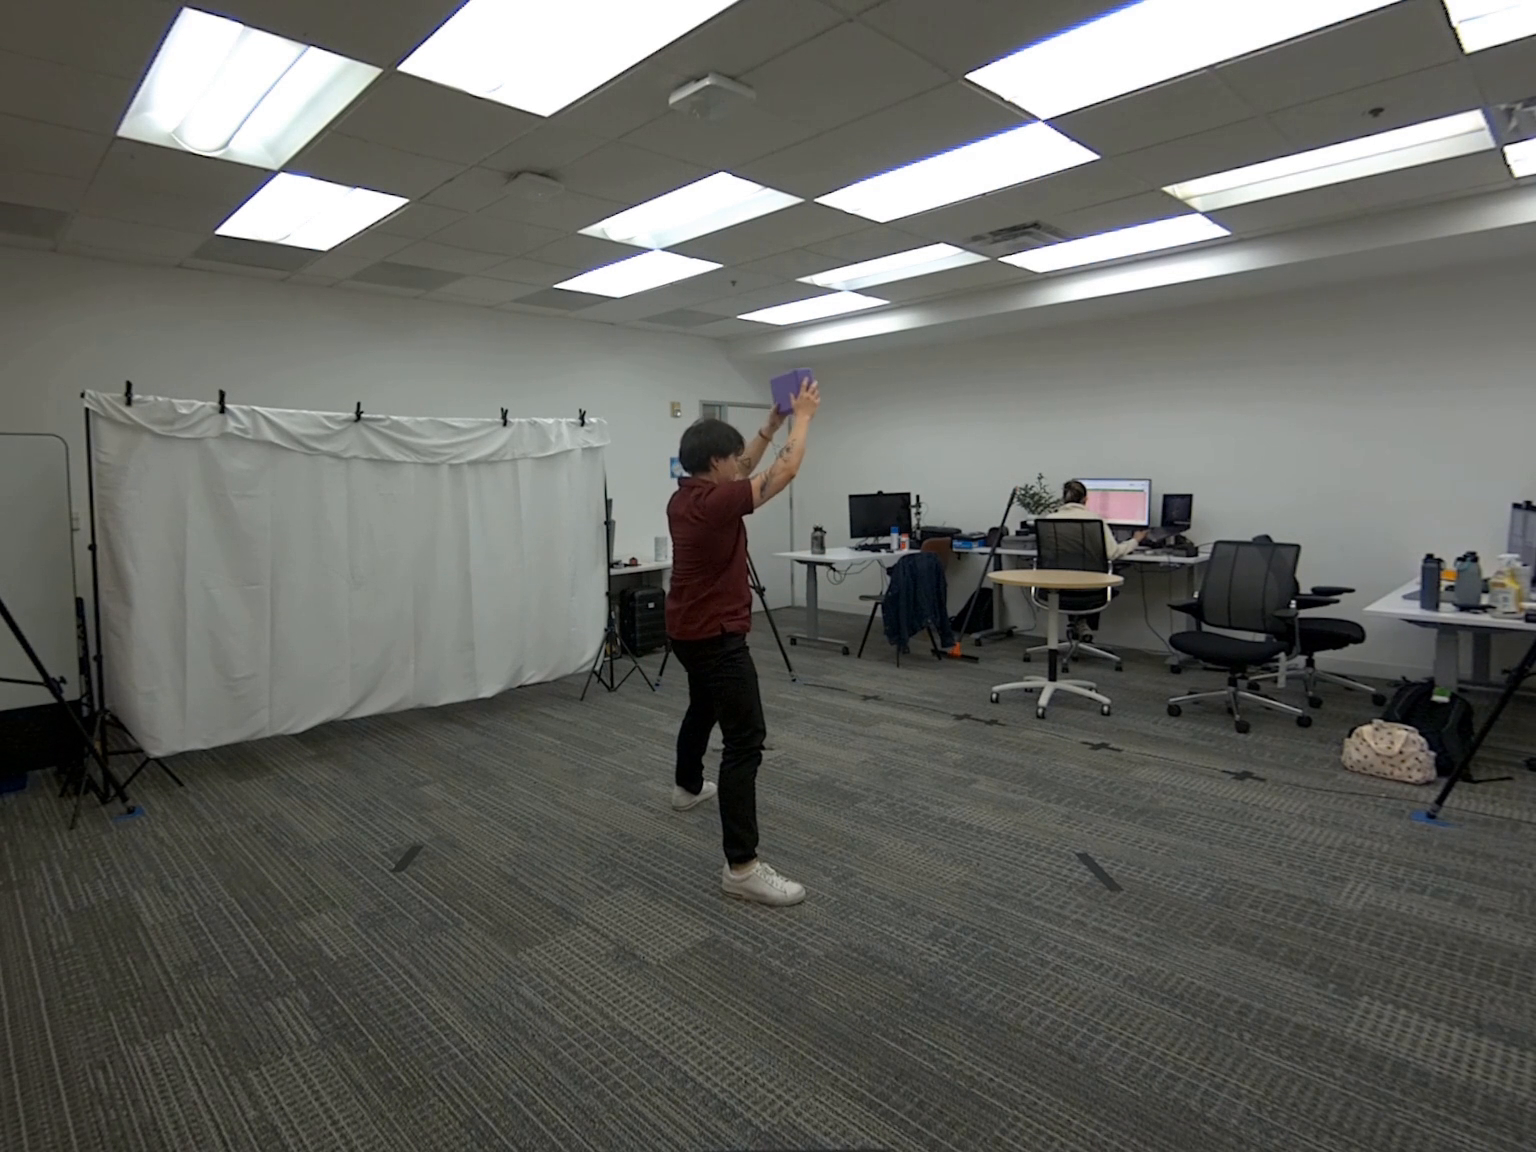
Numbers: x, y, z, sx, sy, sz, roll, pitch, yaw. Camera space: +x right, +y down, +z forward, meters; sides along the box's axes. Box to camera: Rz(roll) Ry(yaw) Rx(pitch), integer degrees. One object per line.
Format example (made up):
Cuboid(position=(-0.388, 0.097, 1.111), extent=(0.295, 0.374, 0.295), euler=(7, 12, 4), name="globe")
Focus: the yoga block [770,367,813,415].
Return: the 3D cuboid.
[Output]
Cuboid(position=(0.095, -0.708, 3.311), extent=(0.075, 0.148, 0.234), euler=(-13, 6, -21), name="yoga block")
